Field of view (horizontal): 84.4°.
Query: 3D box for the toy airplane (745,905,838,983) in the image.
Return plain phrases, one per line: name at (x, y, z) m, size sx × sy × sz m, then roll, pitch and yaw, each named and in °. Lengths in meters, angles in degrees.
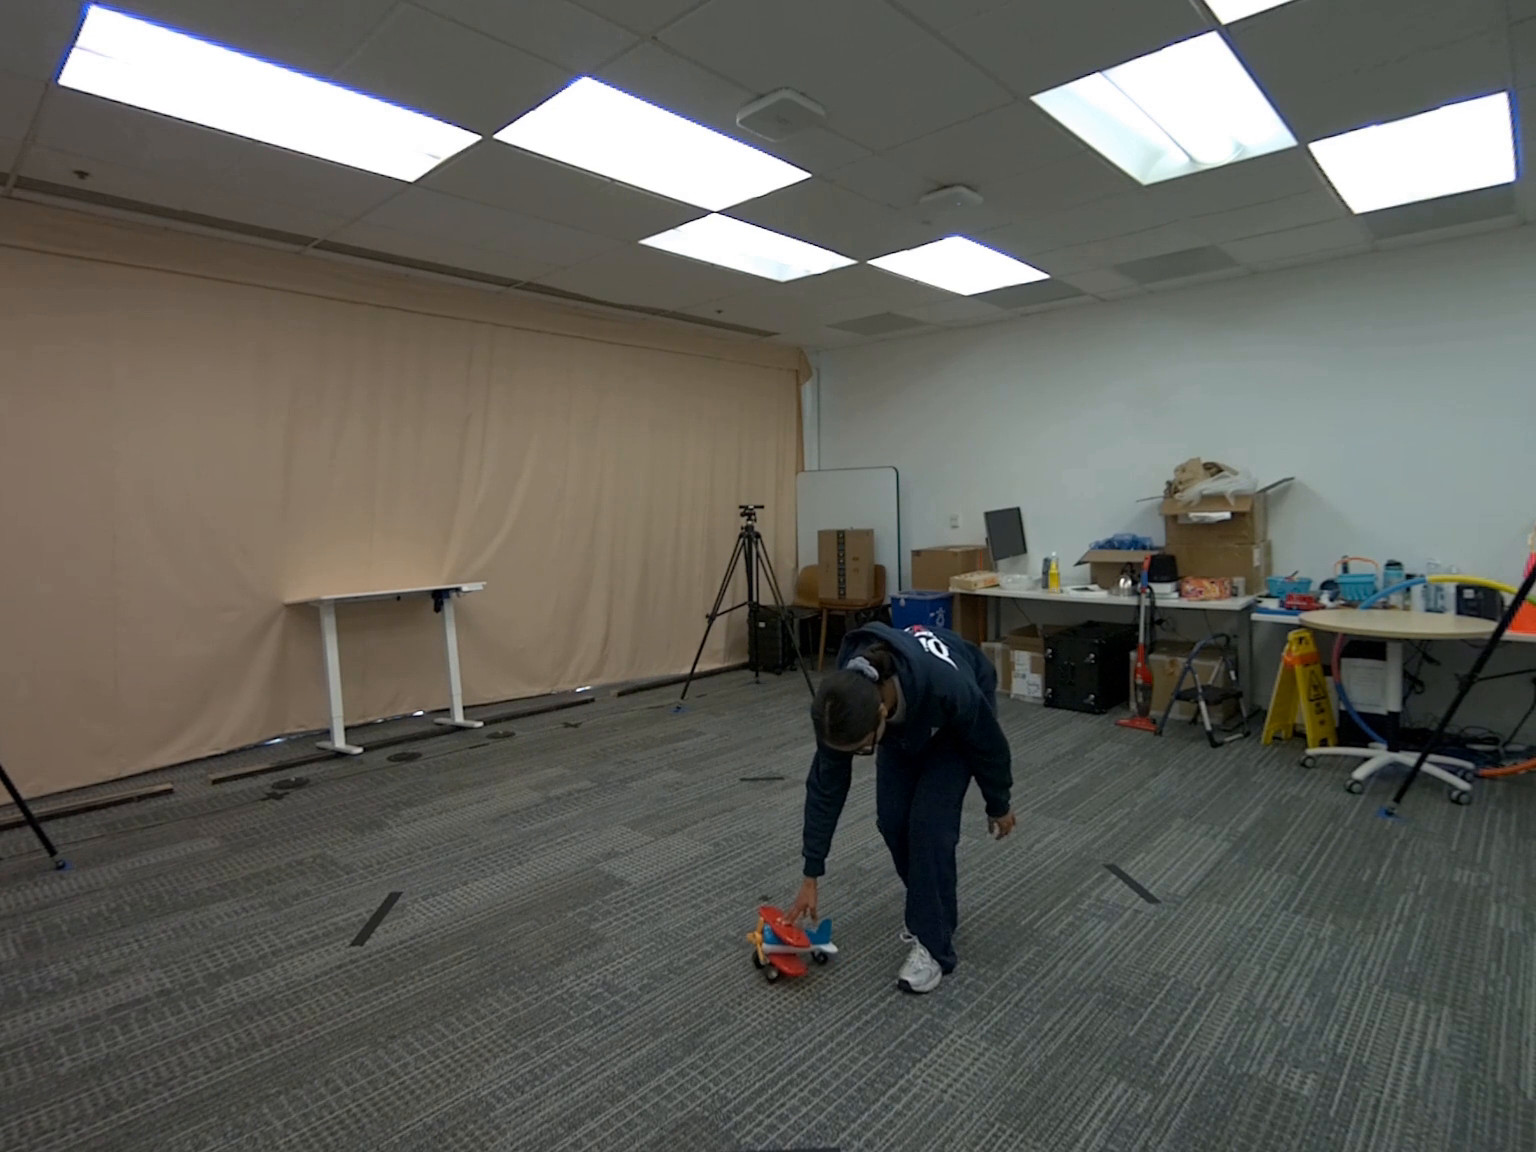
toy airplane at (0.071, 1.109, 2.542) m, size 0.259 × 0.156 × 0.252 m, roll 4°, pitch 7°, yaw 38°
